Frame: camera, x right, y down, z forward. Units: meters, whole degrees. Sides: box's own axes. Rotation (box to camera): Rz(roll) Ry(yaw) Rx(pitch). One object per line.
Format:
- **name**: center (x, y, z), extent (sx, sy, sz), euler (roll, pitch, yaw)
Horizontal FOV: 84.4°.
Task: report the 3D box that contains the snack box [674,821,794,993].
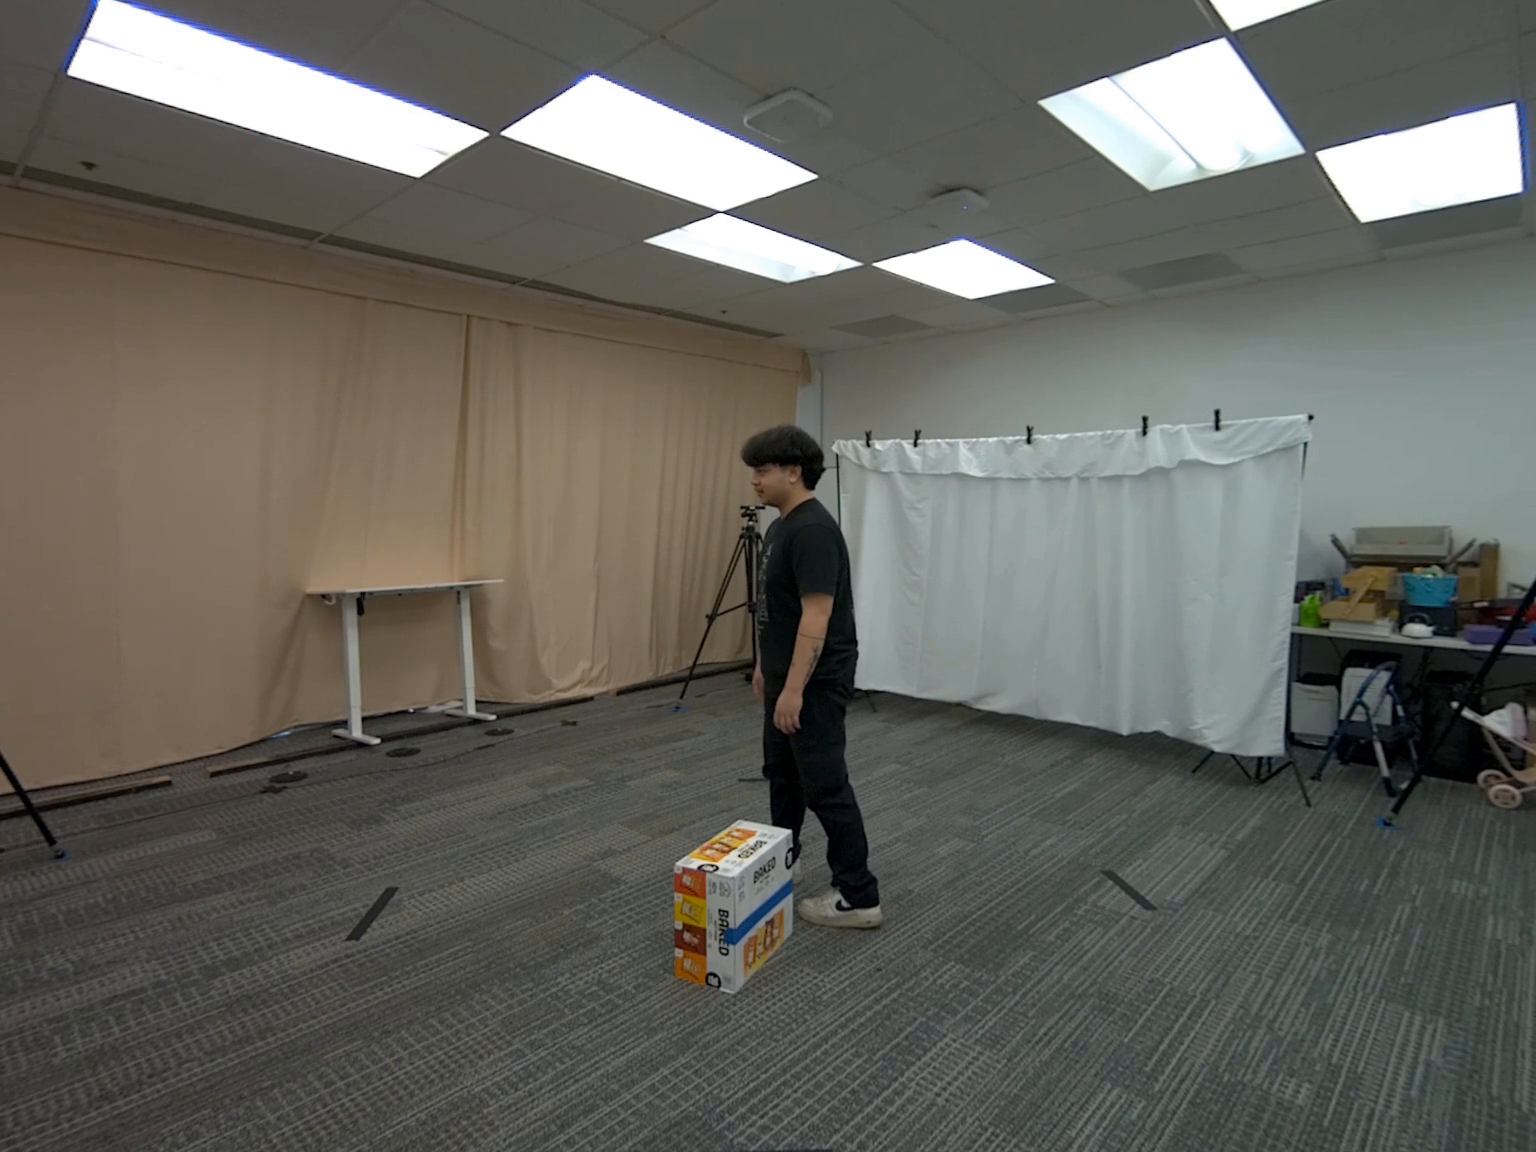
- **snack box**: center (-0.098, 1.005, 2.613), extent (0.211, 0.340, 0.395), euler (1, 4, 27)
